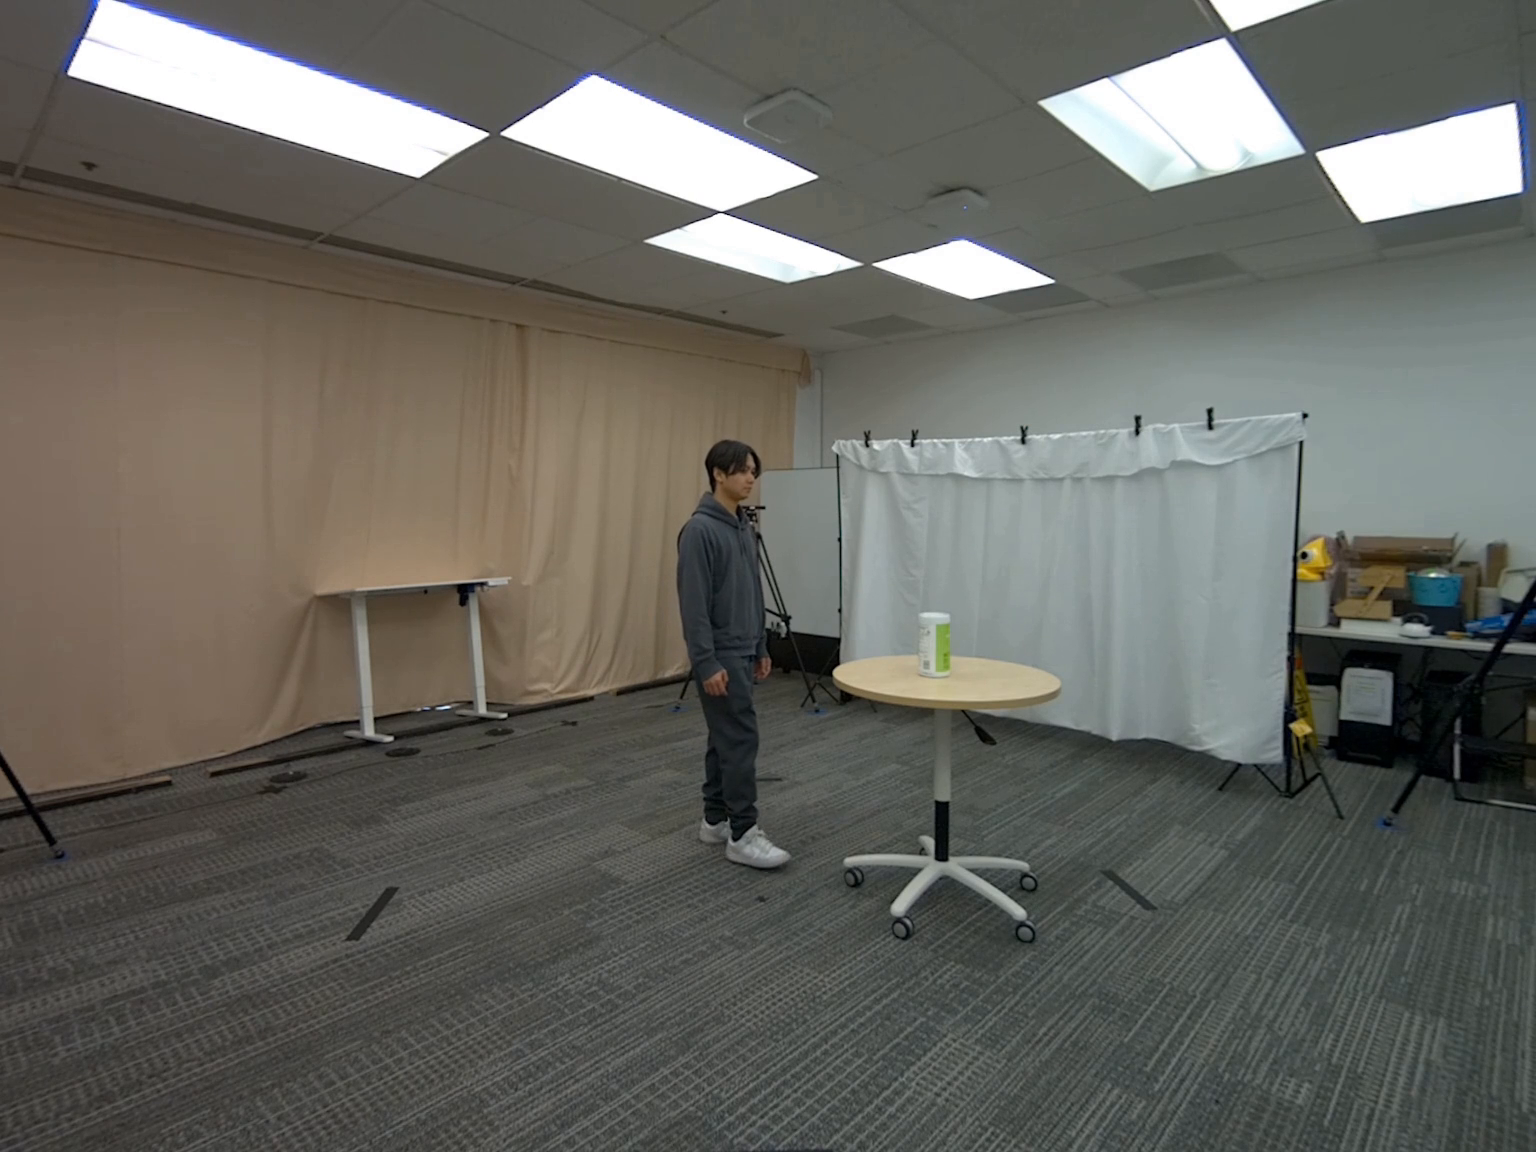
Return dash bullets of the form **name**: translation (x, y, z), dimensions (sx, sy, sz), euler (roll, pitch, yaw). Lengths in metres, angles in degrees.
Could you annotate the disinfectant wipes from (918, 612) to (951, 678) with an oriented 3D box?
- **disinfectant wipes**: translation (0.590, 0.243, 2.938), dimensions (0.118, 0.217, 0.118), euler (0, 5, -2)
